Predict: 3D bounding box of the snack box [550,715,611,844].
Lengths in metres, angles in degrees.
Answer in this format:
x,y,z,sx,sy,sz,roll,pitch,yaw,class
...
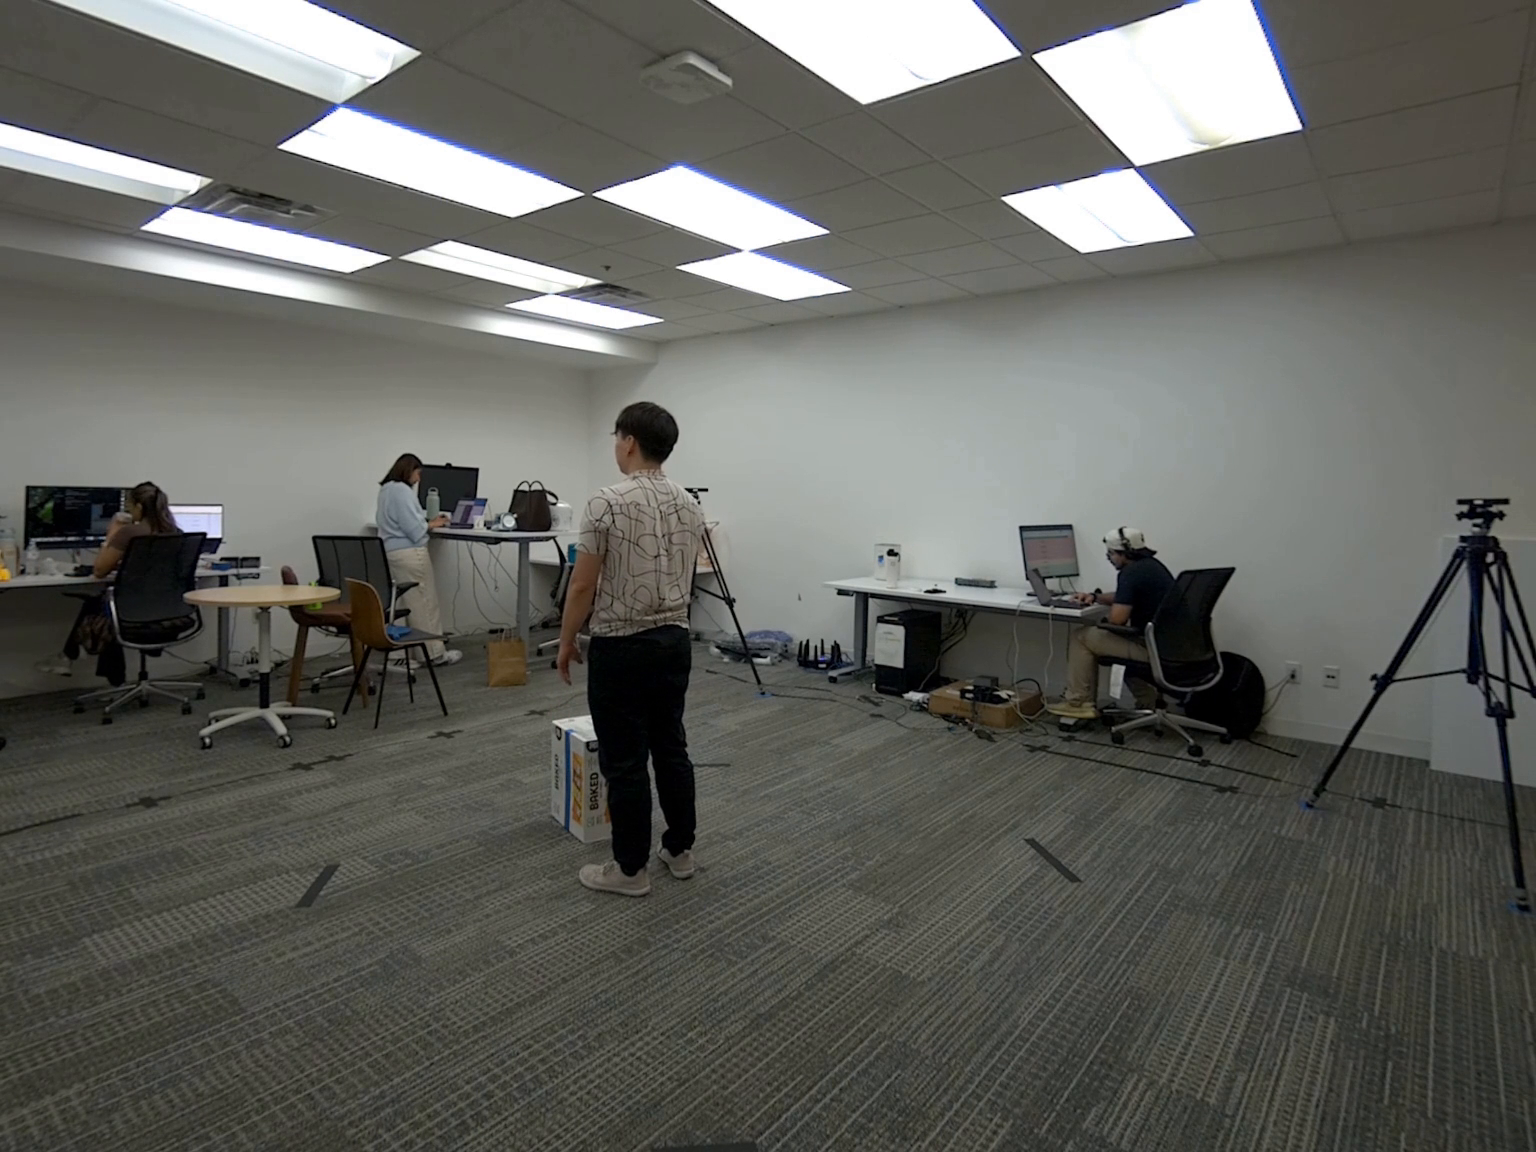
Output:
x,y,z,sx,sy,sz,roll,pitch,yaw,class
-0.745,0.819,3.493,0.200,0.404,0.351,-1,4,-35,snack box
